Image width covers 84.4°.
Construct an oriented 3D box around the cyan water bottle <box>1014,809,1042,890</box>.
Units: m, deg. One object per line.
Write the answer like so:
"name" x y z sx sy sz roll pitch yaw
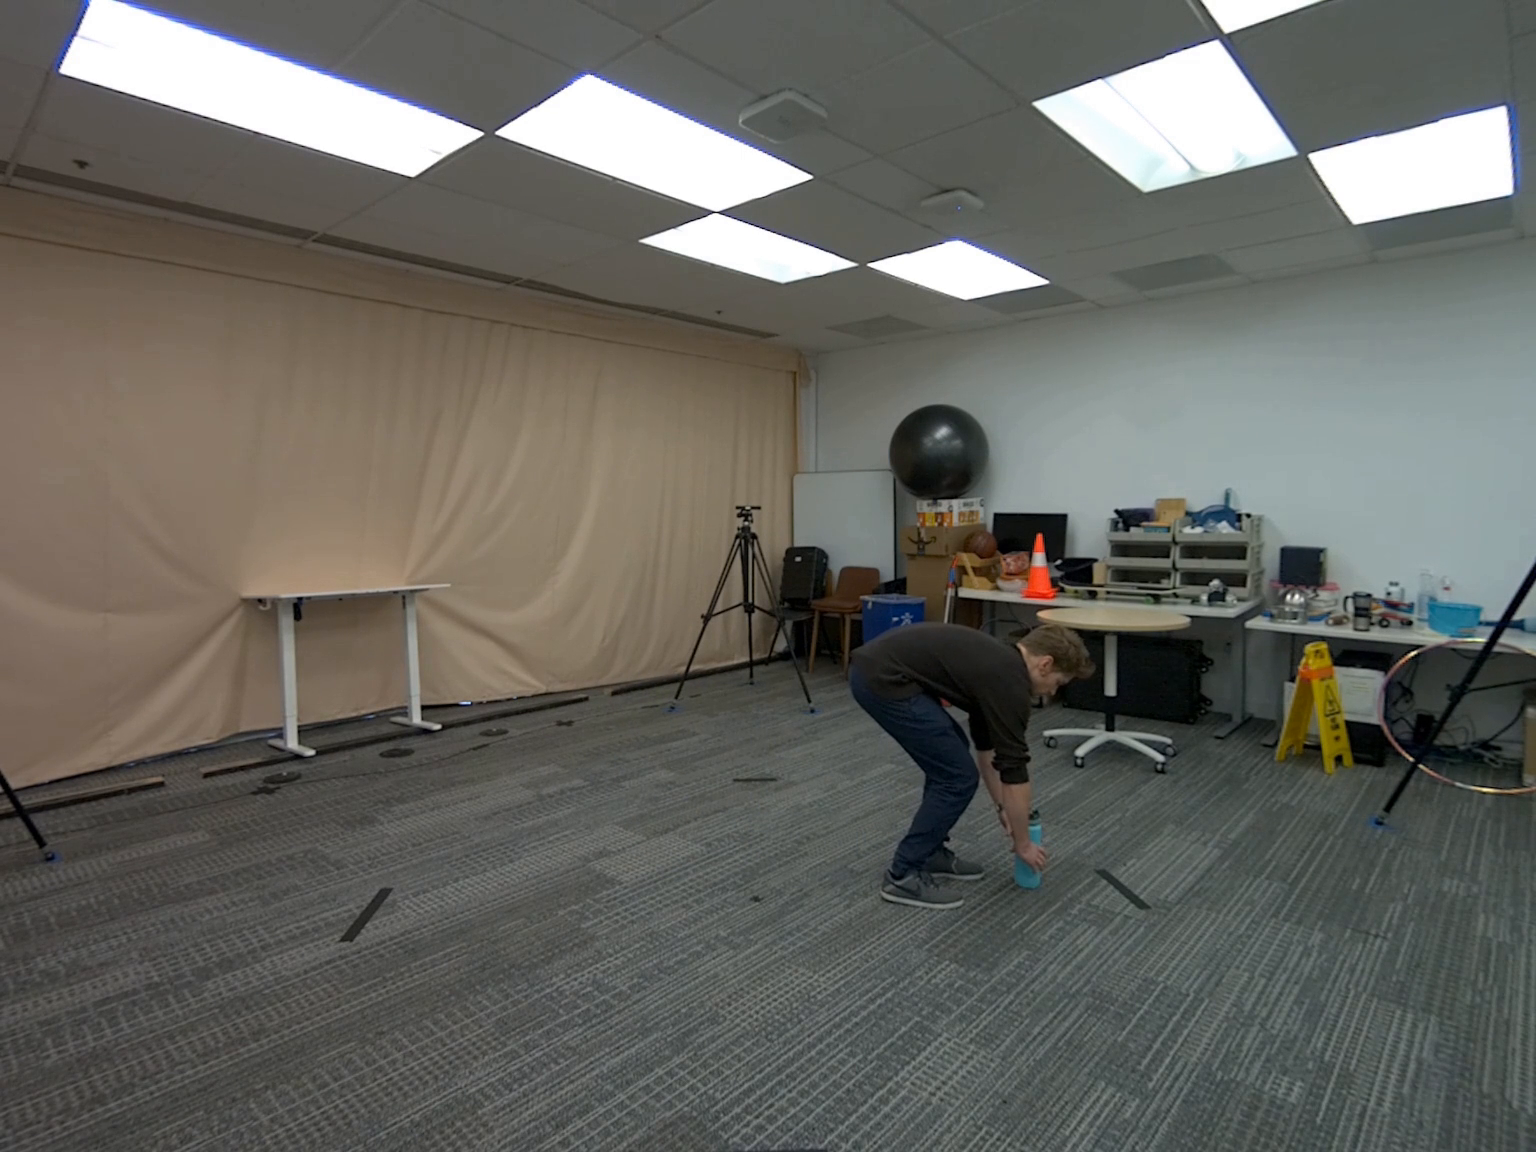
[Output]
"cyan water bottle" 0.952 0.992 3.101 0.092 0.283 0.092 1 0 -2
